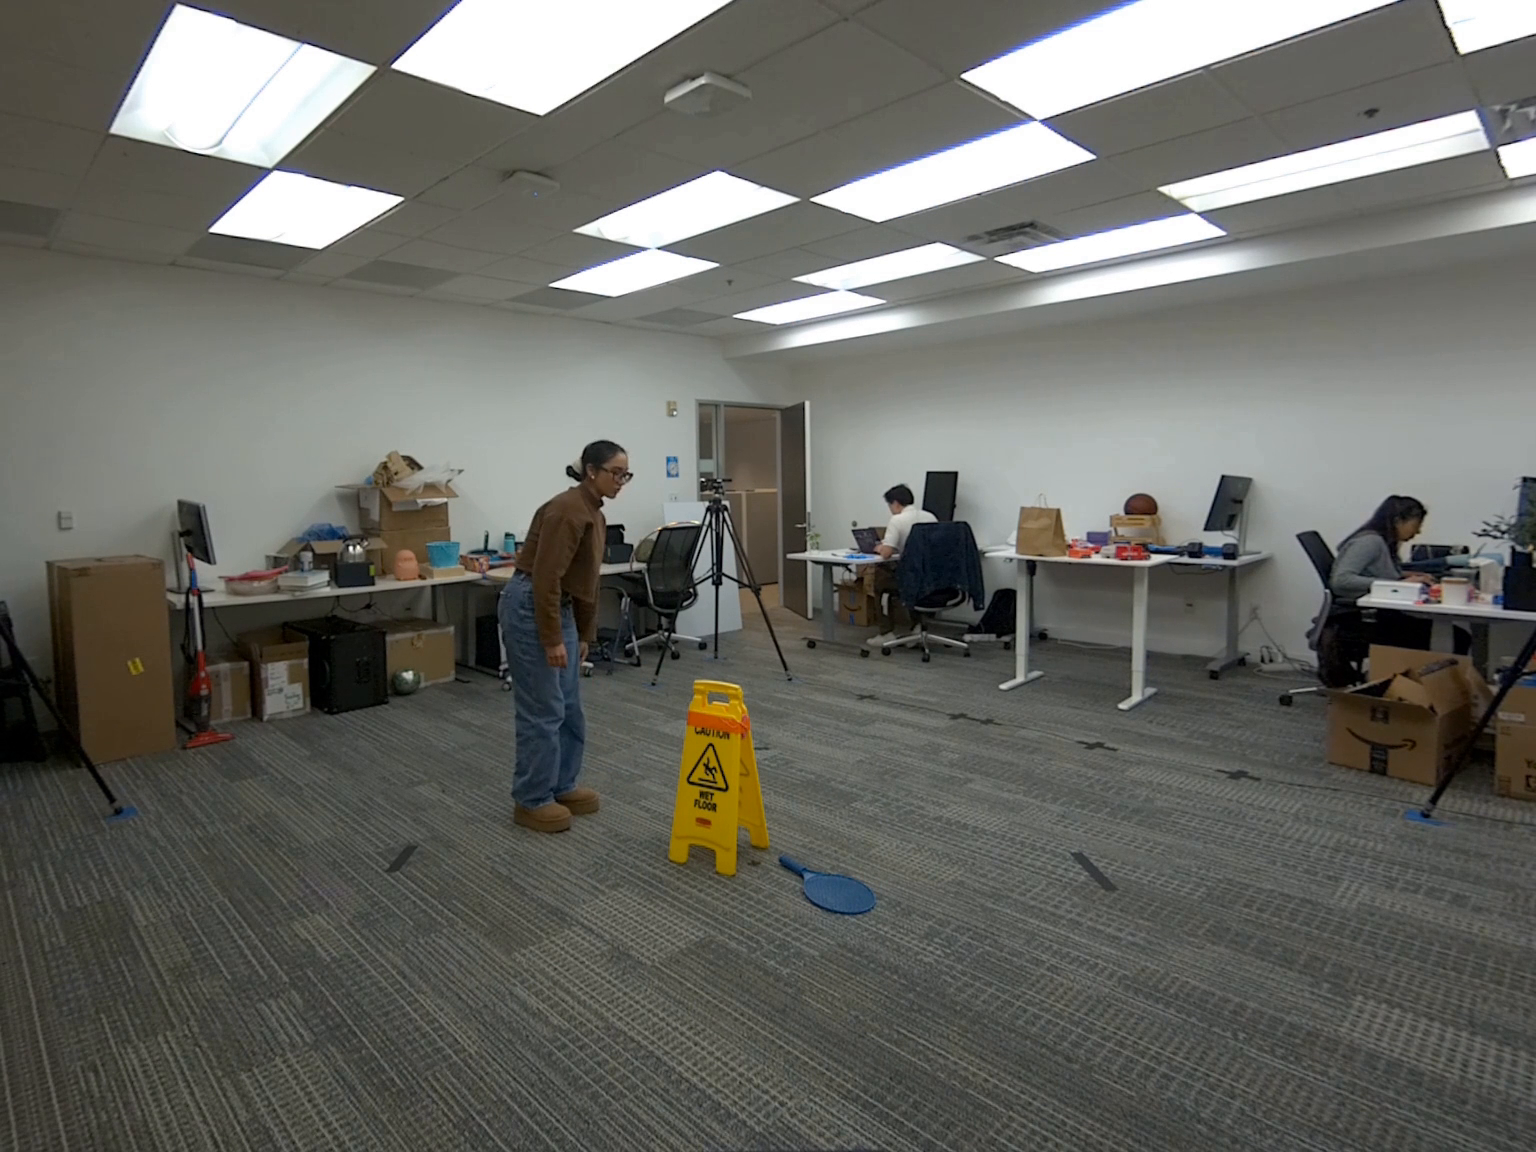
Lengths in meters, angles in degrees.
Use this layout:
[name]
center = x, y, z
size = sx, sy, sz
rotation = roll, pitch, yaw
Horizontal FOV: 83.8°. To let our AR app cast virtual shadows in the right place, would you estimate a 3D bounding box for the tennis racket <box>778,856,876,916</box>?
[tennis racket]
center = 0.186, 1.048, 2.919
size = 0.208, 0.031, 0.447
rotation = -7, 10, -38
